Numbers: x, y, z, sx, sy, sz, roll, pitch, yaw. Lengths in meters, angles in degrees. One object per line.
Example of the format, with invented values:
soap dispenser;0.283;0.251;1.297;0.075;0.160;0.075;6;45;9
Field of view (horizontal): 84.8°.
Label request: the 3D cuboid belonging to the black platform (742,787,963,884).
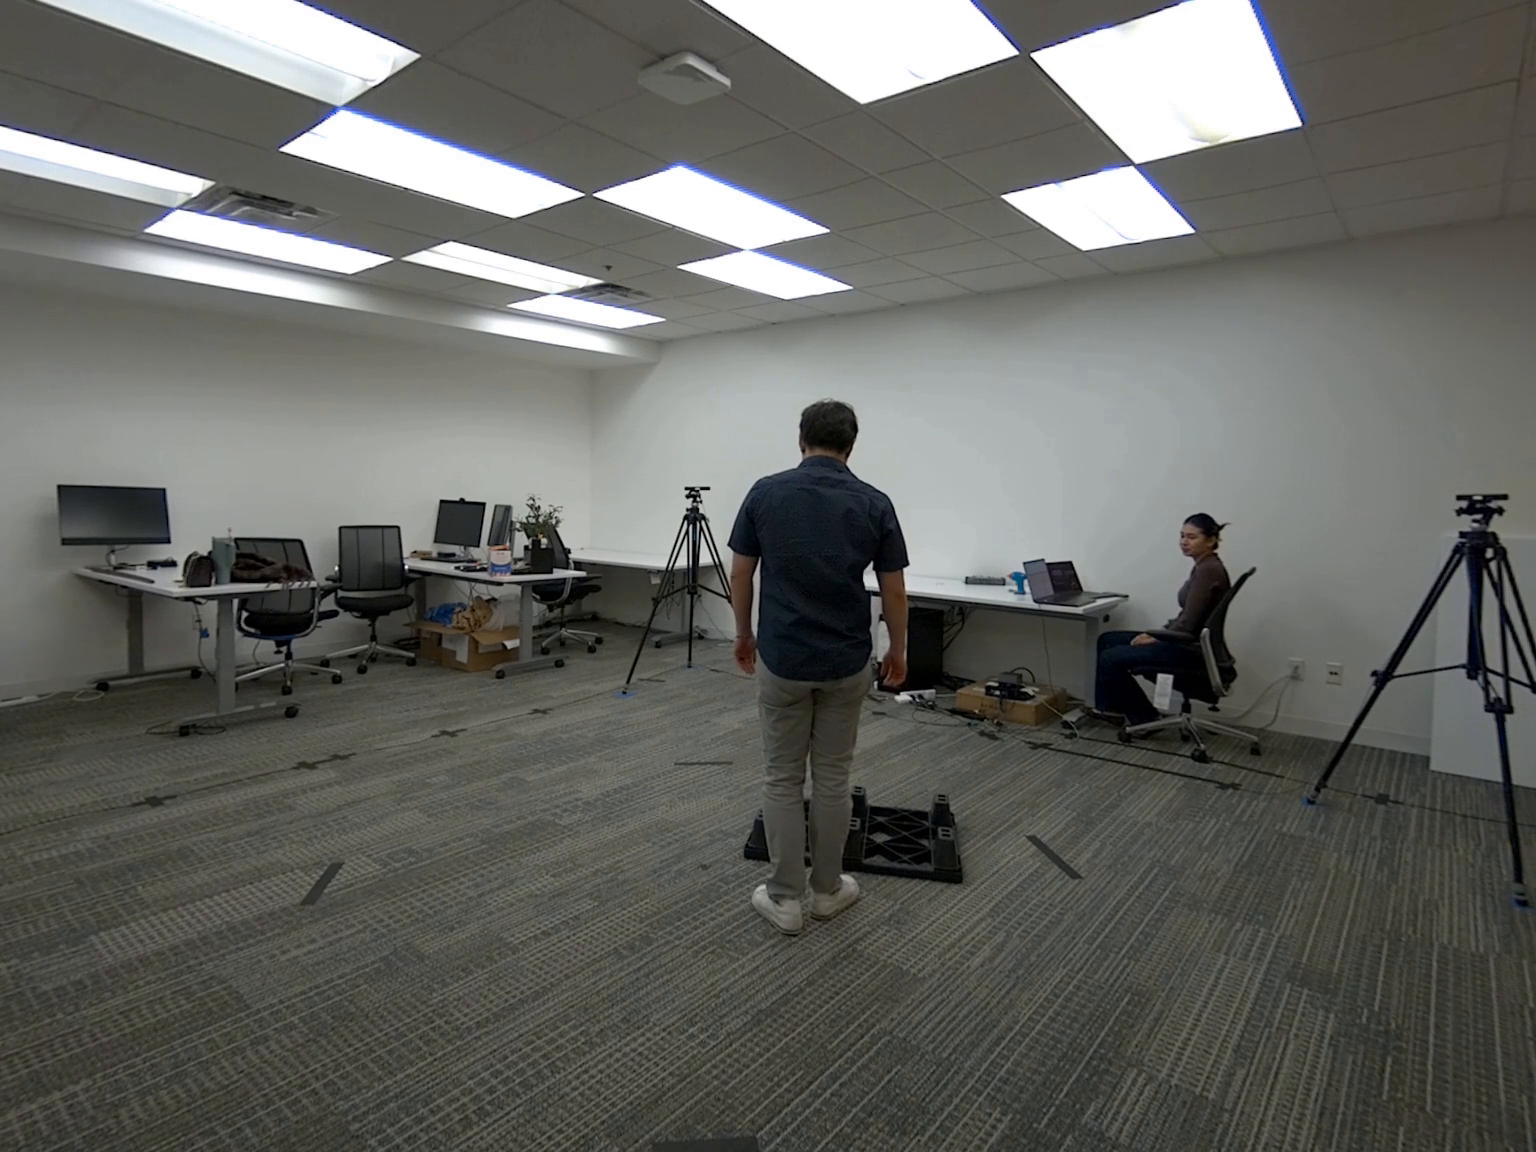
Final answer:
black platform;0.345;0.982;3.398;0.816;0.143;0.600;2;6;11
